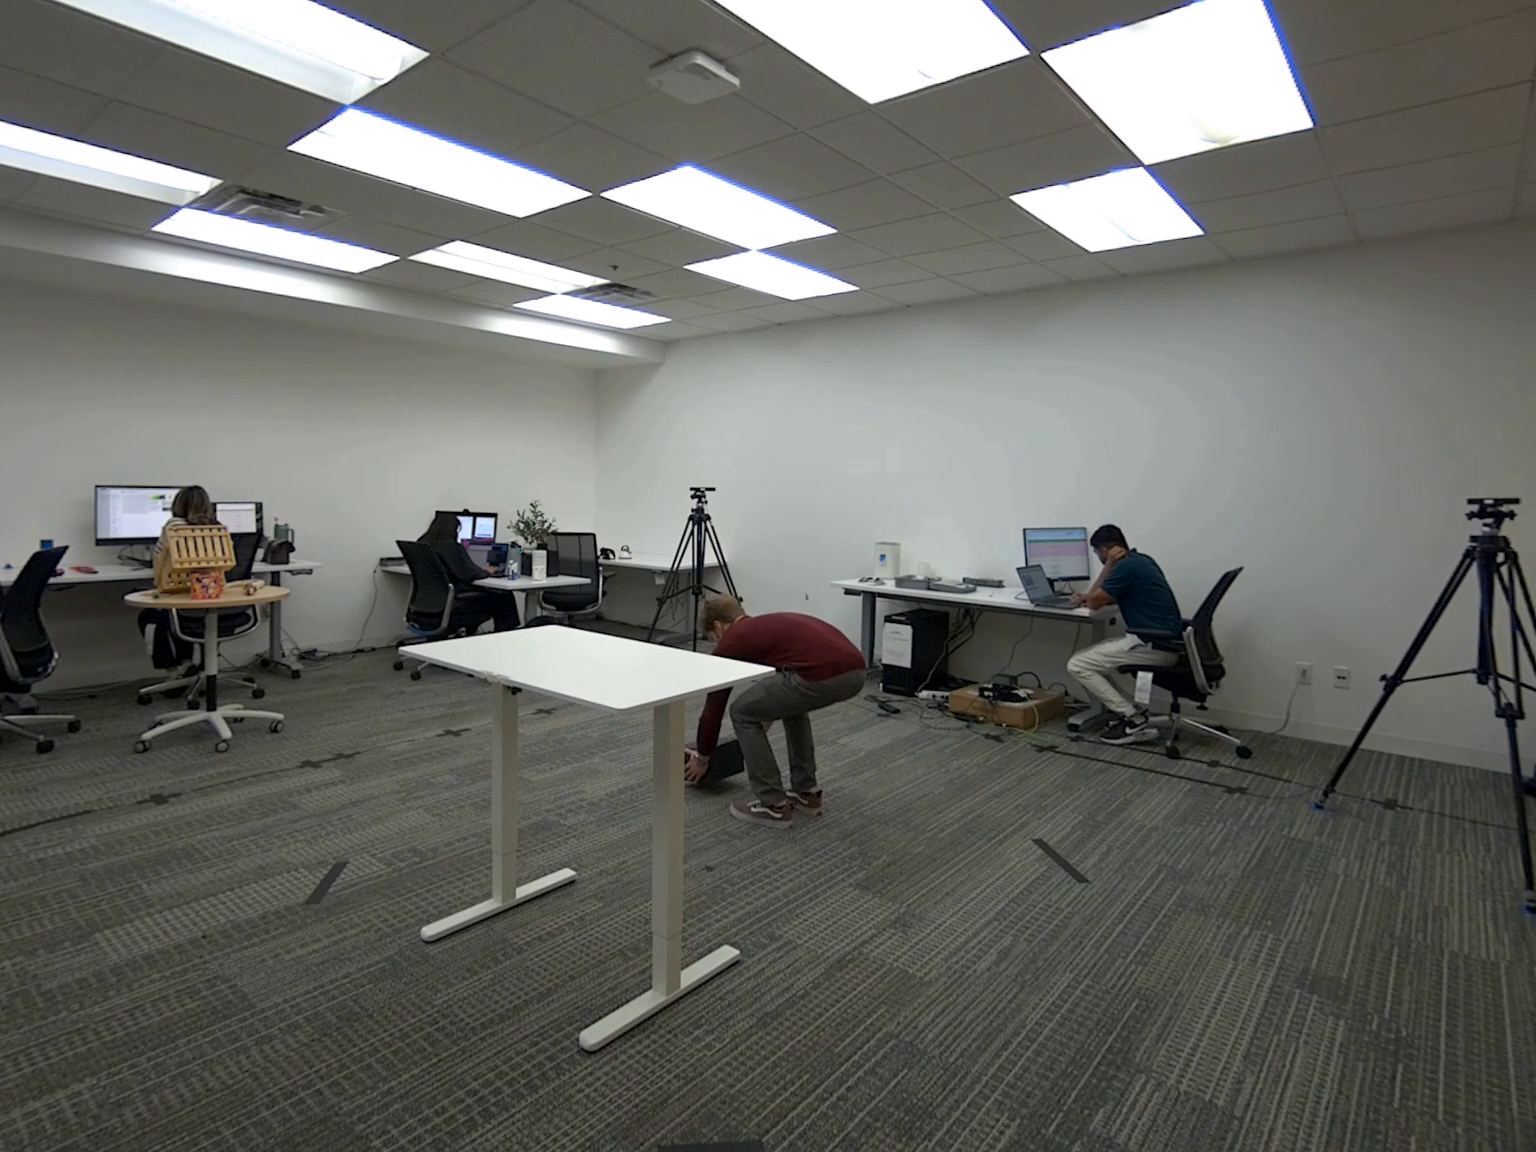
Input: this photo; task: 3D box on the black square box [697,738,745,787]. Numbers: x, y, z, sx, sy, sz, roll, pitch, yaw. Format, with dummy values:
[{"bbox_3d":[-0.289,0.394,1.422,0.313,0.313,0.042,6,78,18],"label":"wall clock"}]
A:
[{"bbox_3d":[-0.279,0.845,3.980,0.223,0.156,0.221,-9,-2,41],"label":"black square box"}]
